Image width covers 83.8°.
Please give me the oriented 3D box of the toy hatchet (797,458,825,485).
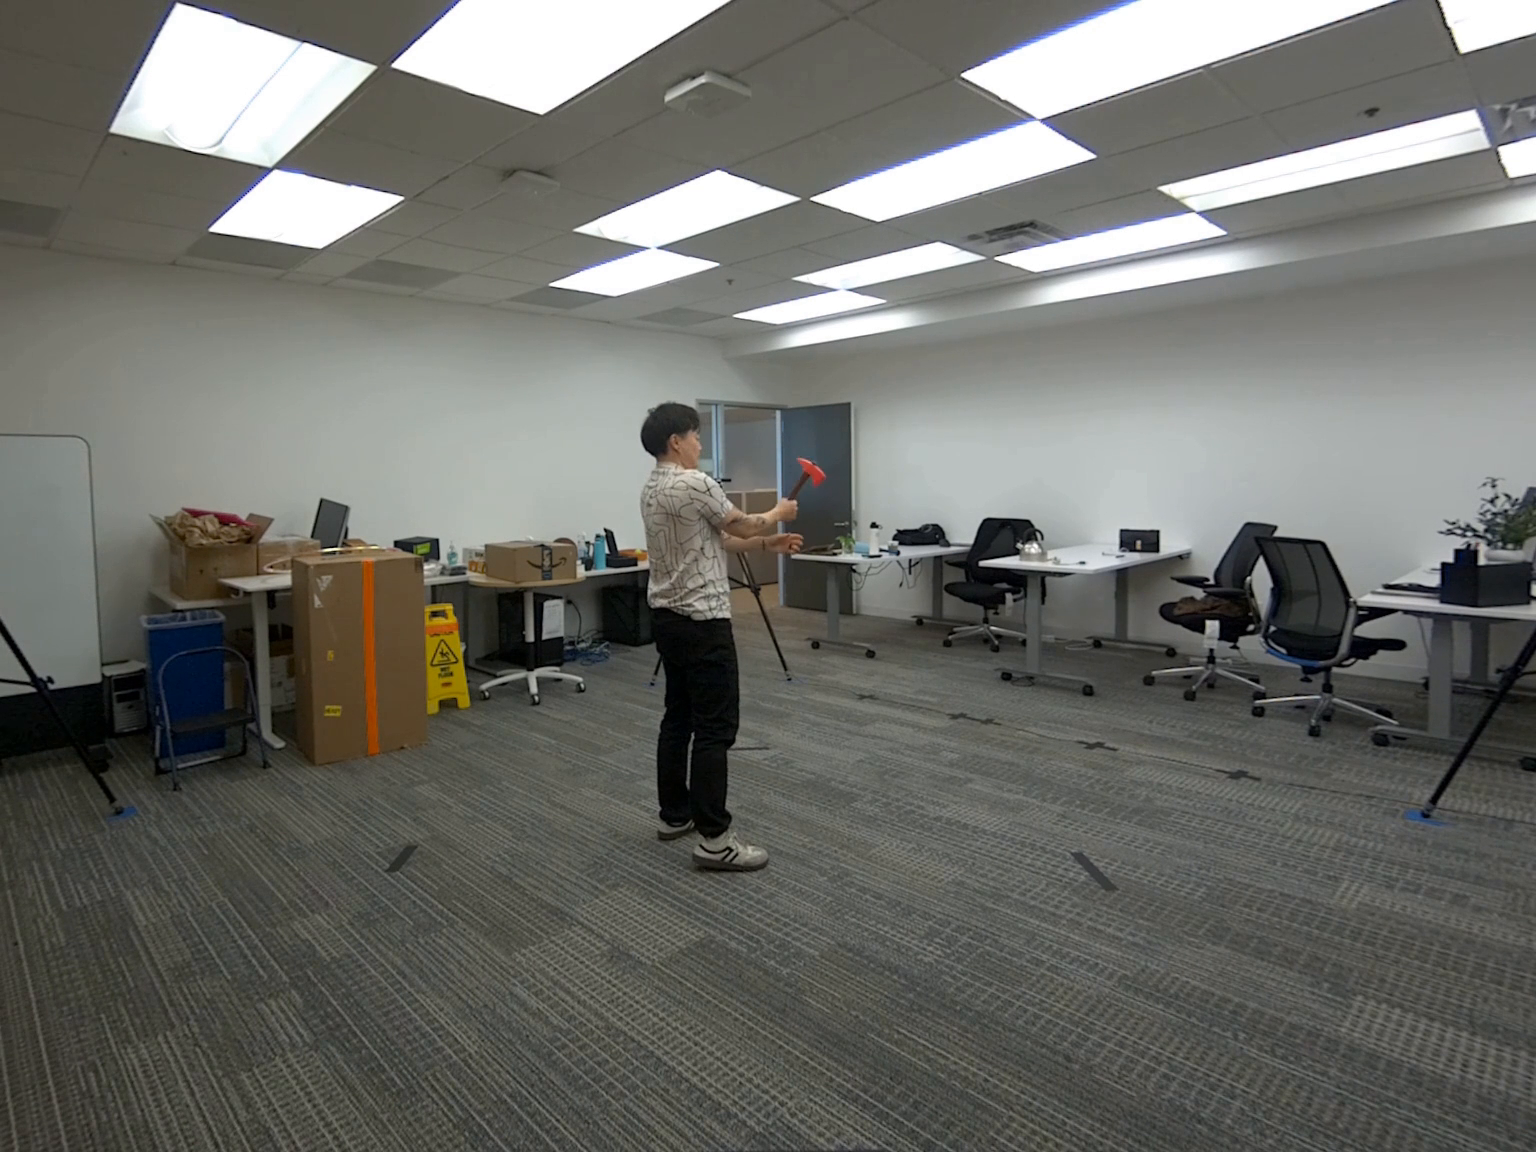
[{"bbox_3d":[0.128,-0.329,3.470,0.133,0.268,0.029,18,14,10],"label":"toy hatchet"}]
